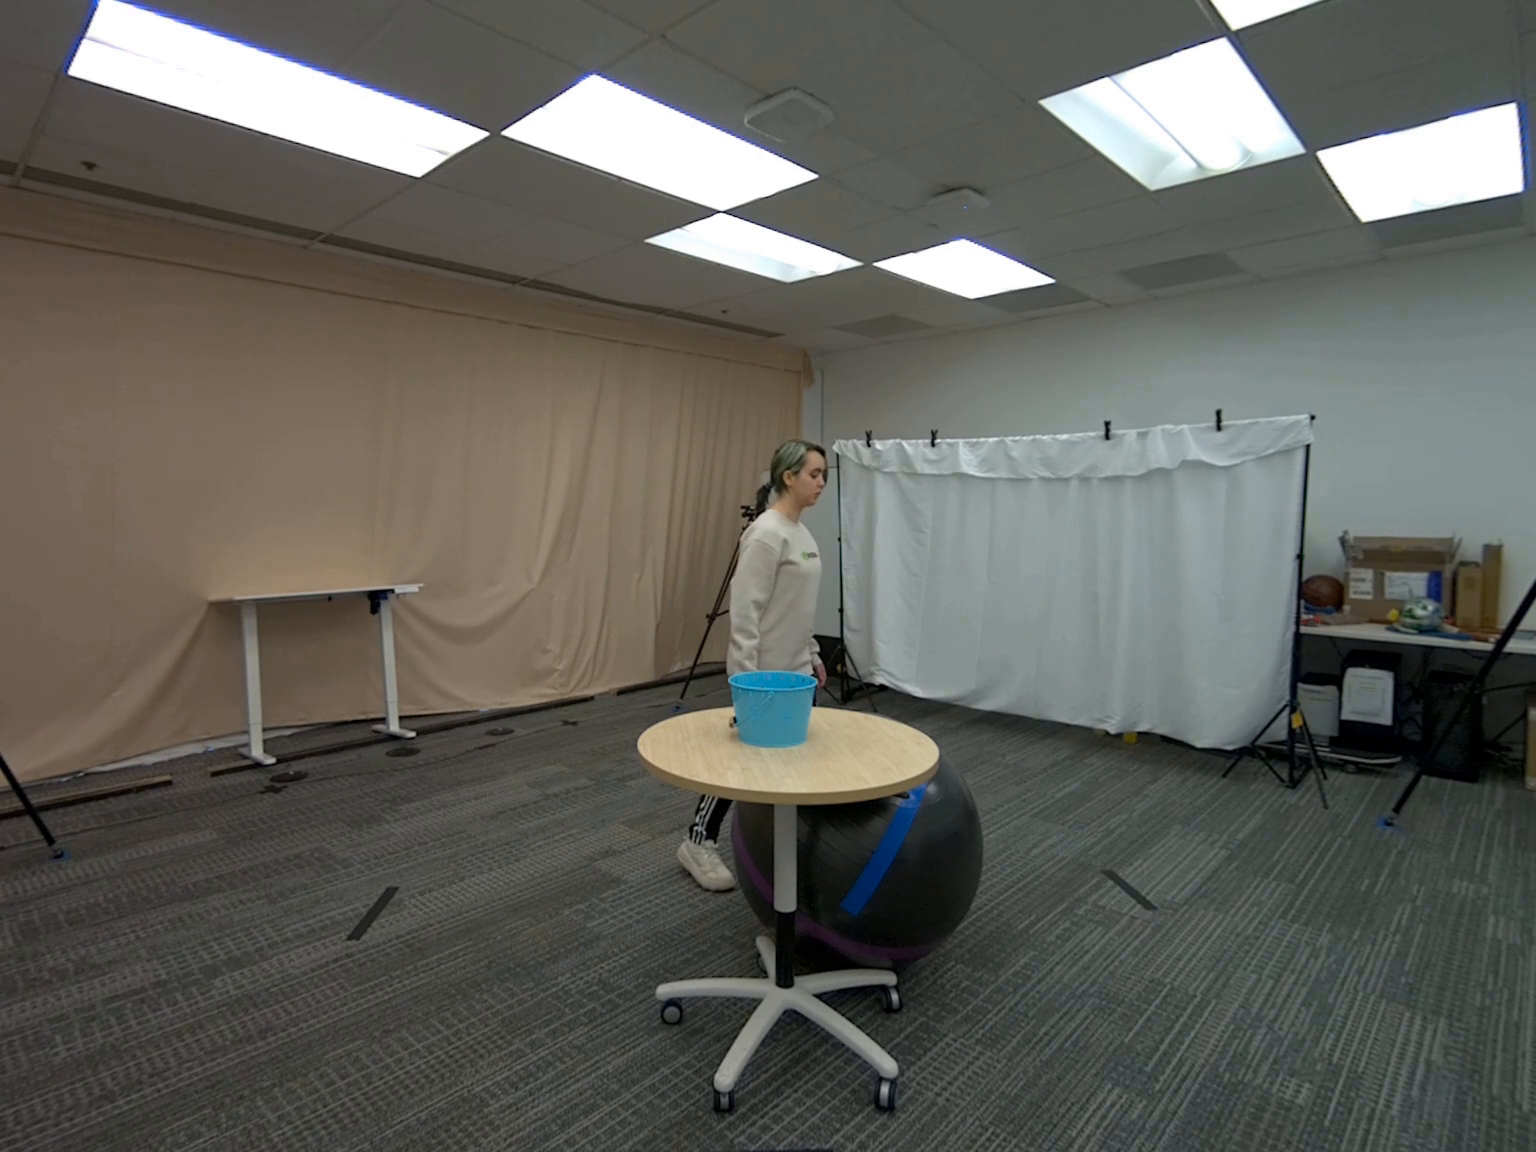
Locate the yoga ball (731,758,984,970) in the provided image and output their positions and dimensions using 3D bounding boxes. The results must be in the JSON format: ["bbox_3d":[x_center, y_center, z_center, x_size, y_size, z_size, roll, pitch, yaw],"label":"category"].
[{"bbox_3d":[0.285,0.815,2.579,0.757,0.756,0.760,0,4,-2],"label":"yoga ball"}]
